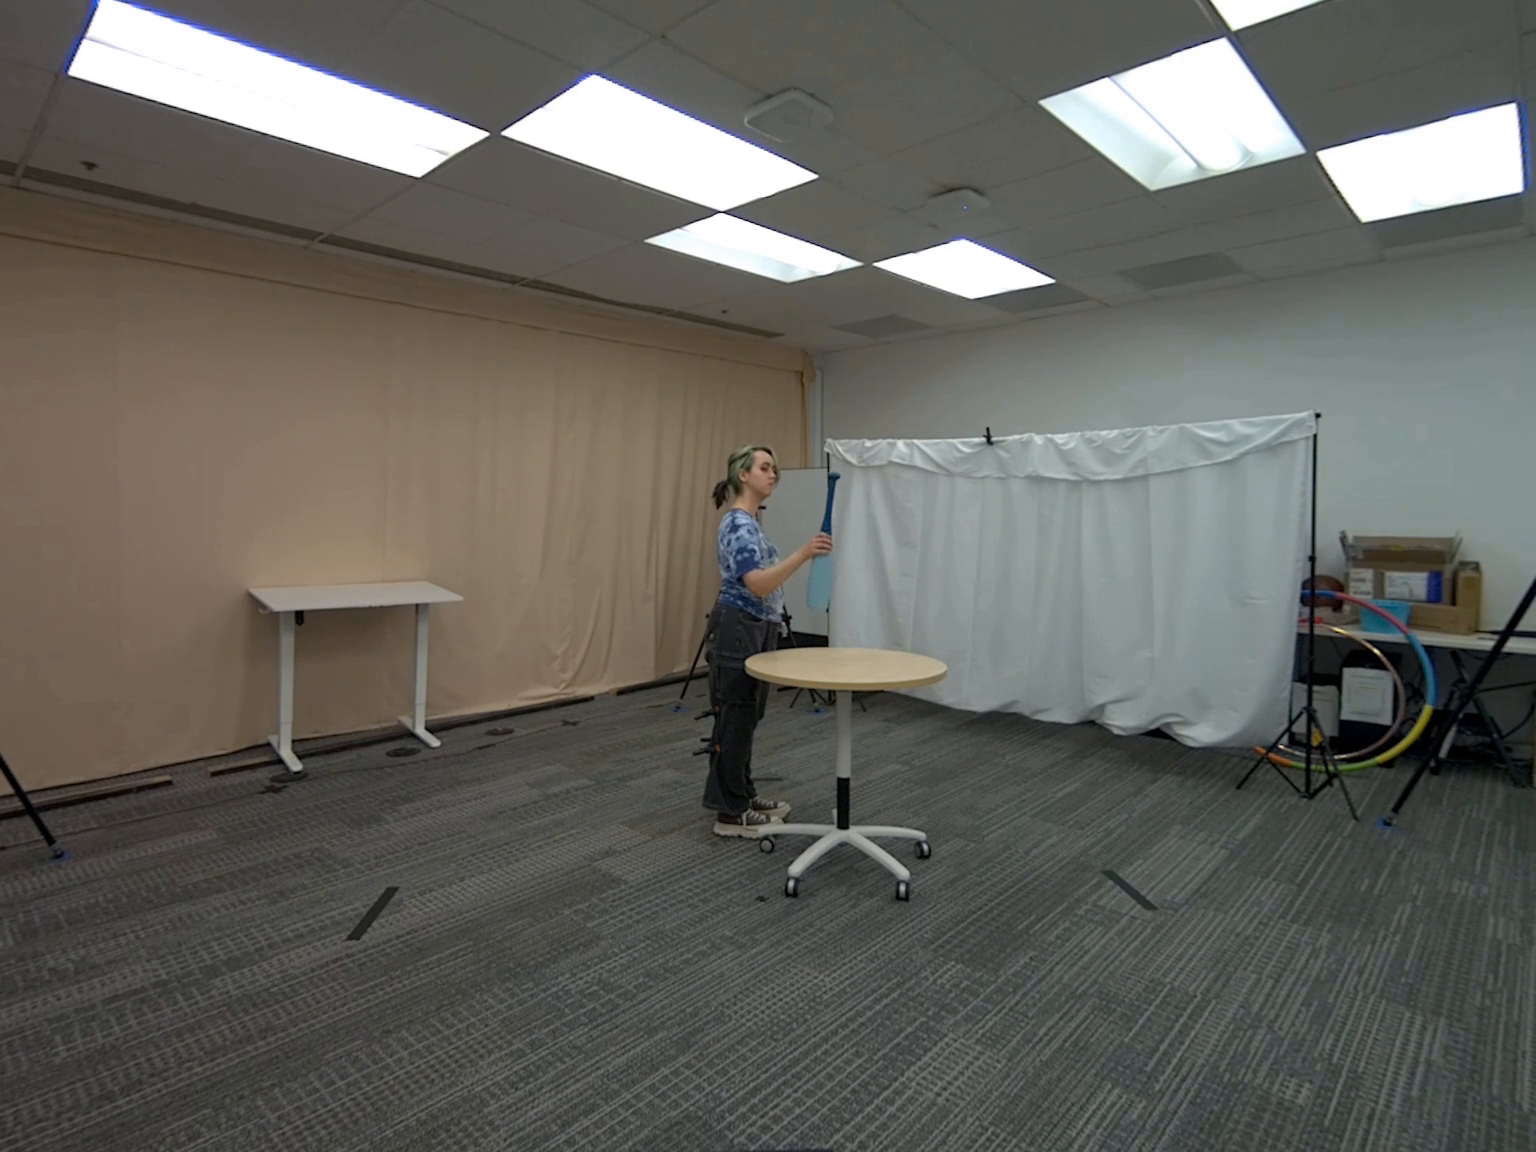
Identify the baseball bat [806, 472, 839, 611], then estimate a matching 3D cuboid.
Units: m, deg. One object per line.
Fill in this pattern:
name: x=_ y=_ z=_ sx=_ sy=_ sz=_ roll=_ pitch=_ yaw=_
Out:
baseball bat: x=0.225 y=-0.135 z=3.287 sx=0.089 sy=0.540 sz=0.090 roll=6 pitch=11 yaw=-3
